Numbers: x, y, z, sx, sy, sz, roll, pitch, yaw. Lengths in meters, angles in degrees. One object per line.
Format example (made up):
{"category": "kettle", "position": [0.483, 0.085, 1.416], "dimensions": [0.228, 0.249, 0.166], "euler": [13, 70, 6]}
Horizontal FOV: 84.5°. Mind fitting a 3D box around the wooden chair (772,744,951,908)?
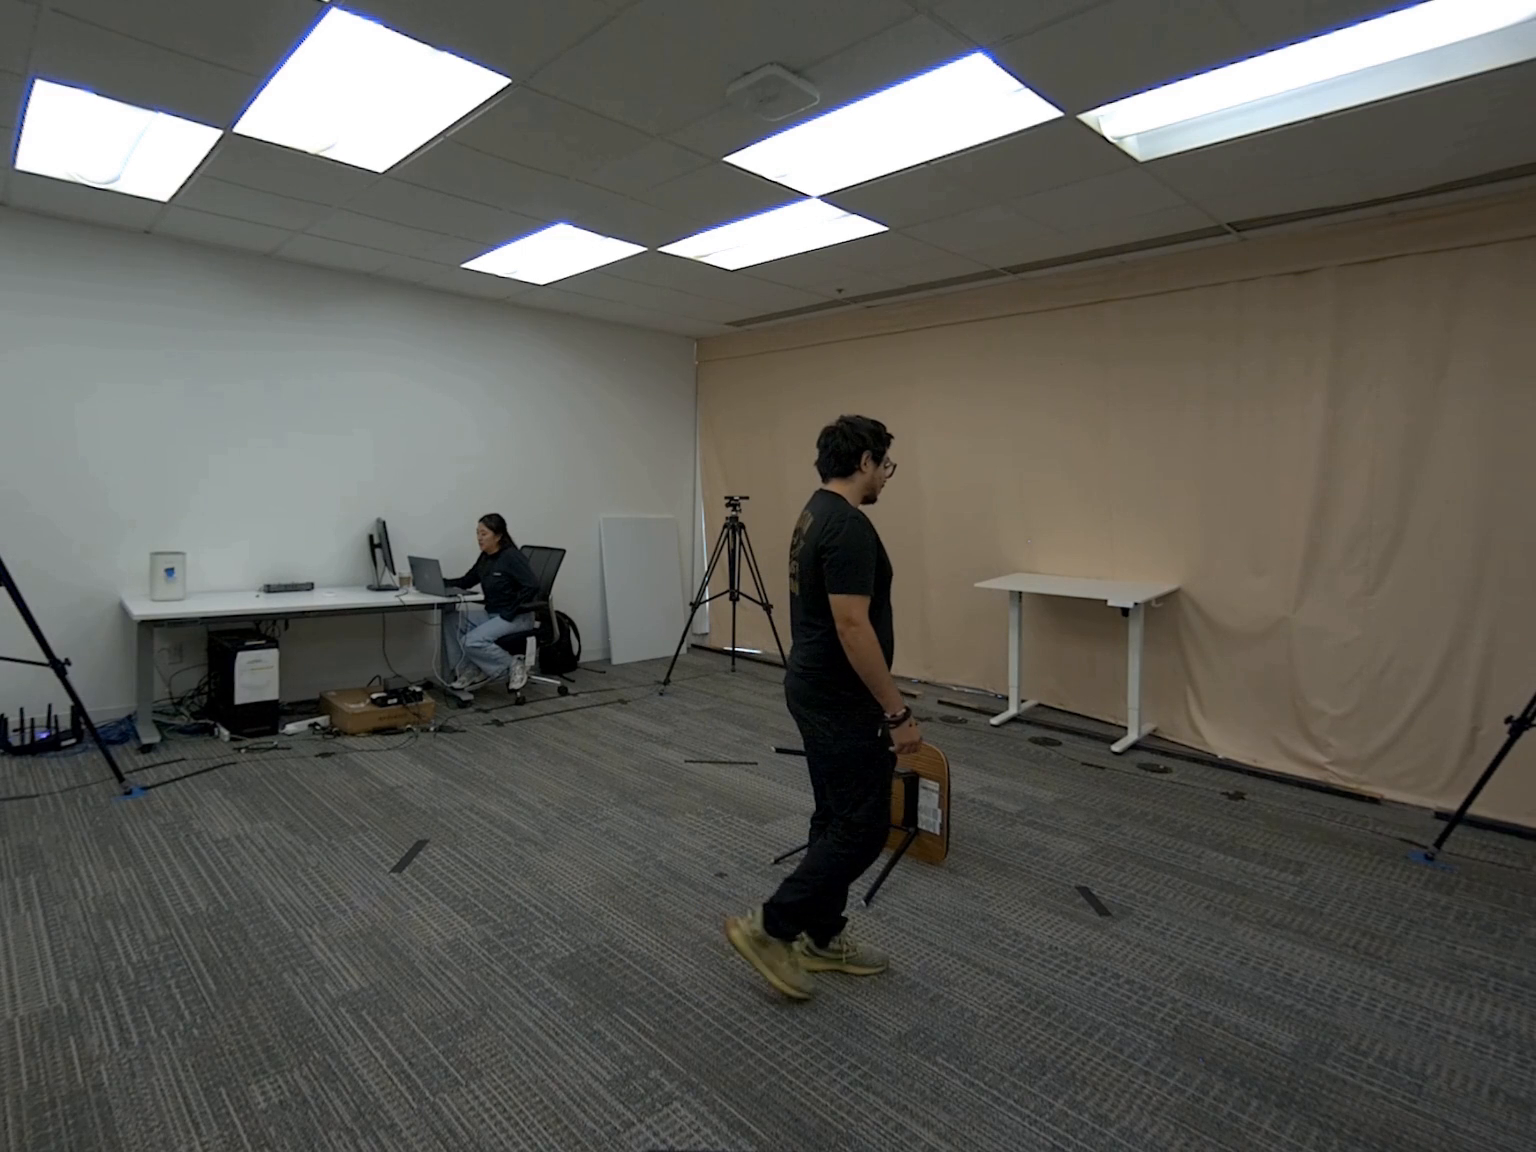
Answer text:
{"category": "wooden chair", "position": [0.475, 0.872, 3.316], "dimensions": [0.536, 0.477, 0.858], "euler": [4, 6, 41]}
